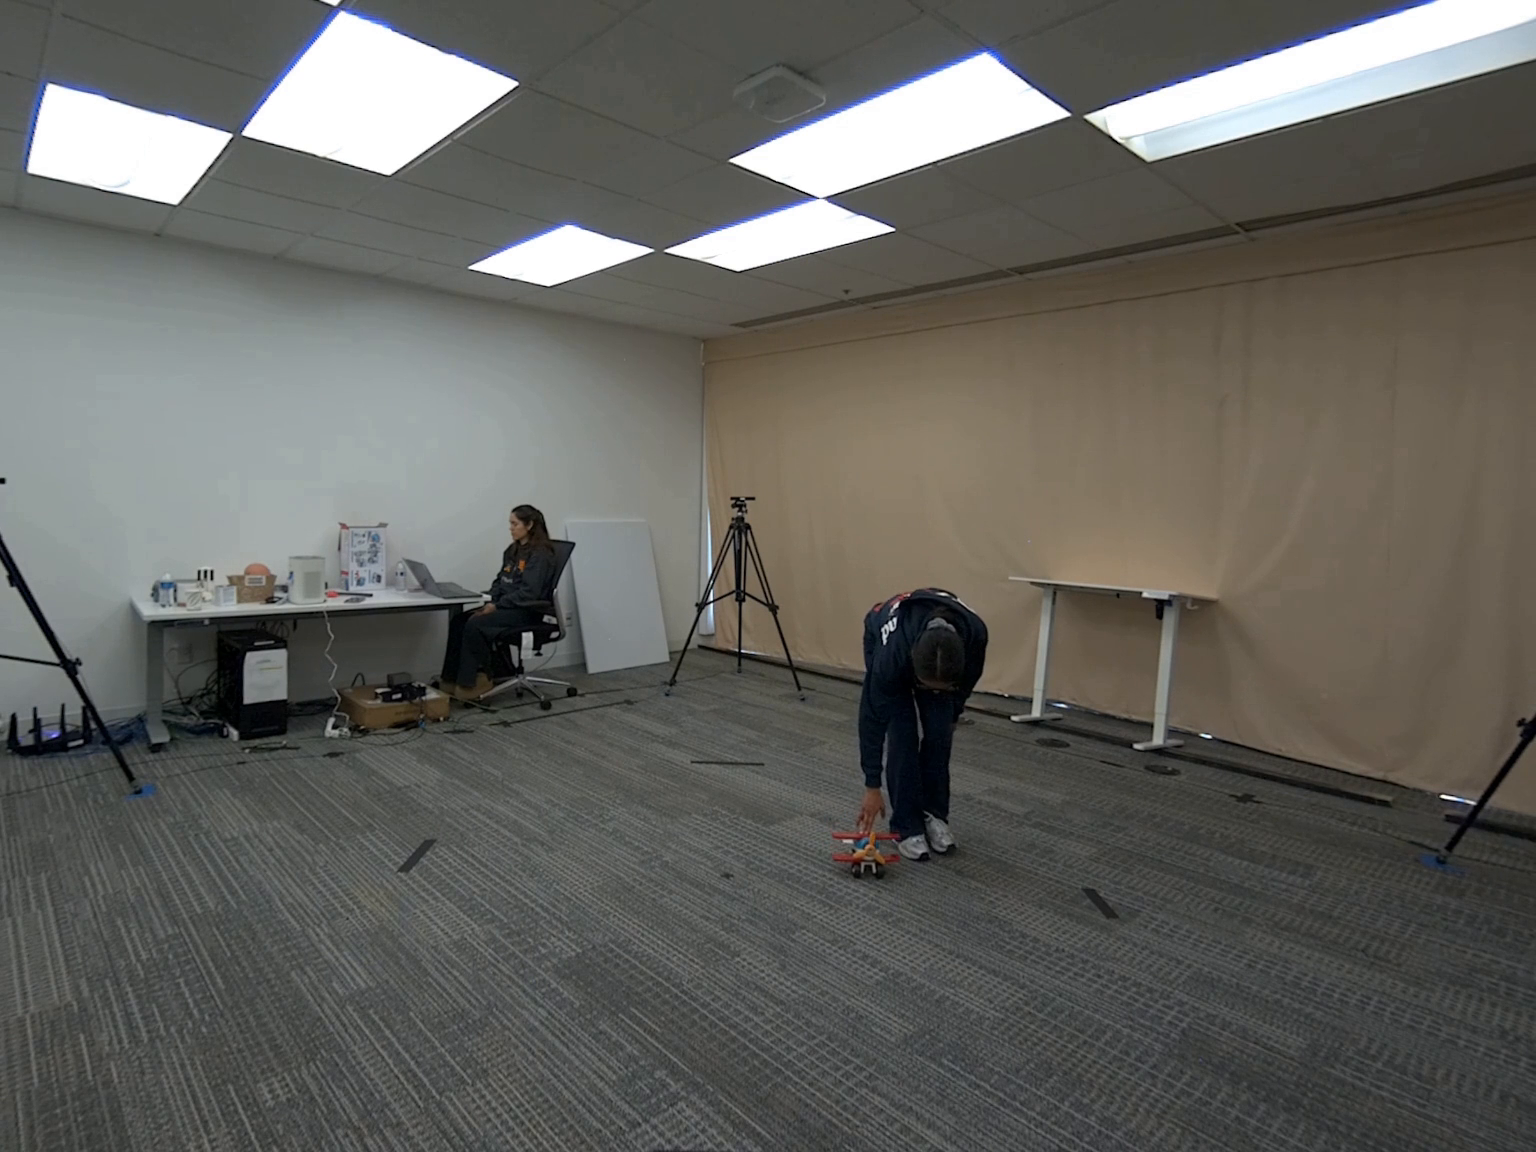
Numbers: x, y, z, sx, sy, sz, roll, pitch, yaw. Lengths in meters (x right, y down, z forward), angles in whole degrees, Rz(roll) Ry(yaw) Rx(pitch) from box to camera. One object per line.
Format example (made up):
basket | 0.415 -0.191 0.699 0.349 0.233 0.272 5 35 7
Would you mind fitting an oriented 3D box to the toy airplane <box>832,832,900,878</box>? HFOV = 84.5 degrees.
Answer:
toy airplane | 0.337 1.035 3.201 0.246 0.156 0.265 -1 5 -30
